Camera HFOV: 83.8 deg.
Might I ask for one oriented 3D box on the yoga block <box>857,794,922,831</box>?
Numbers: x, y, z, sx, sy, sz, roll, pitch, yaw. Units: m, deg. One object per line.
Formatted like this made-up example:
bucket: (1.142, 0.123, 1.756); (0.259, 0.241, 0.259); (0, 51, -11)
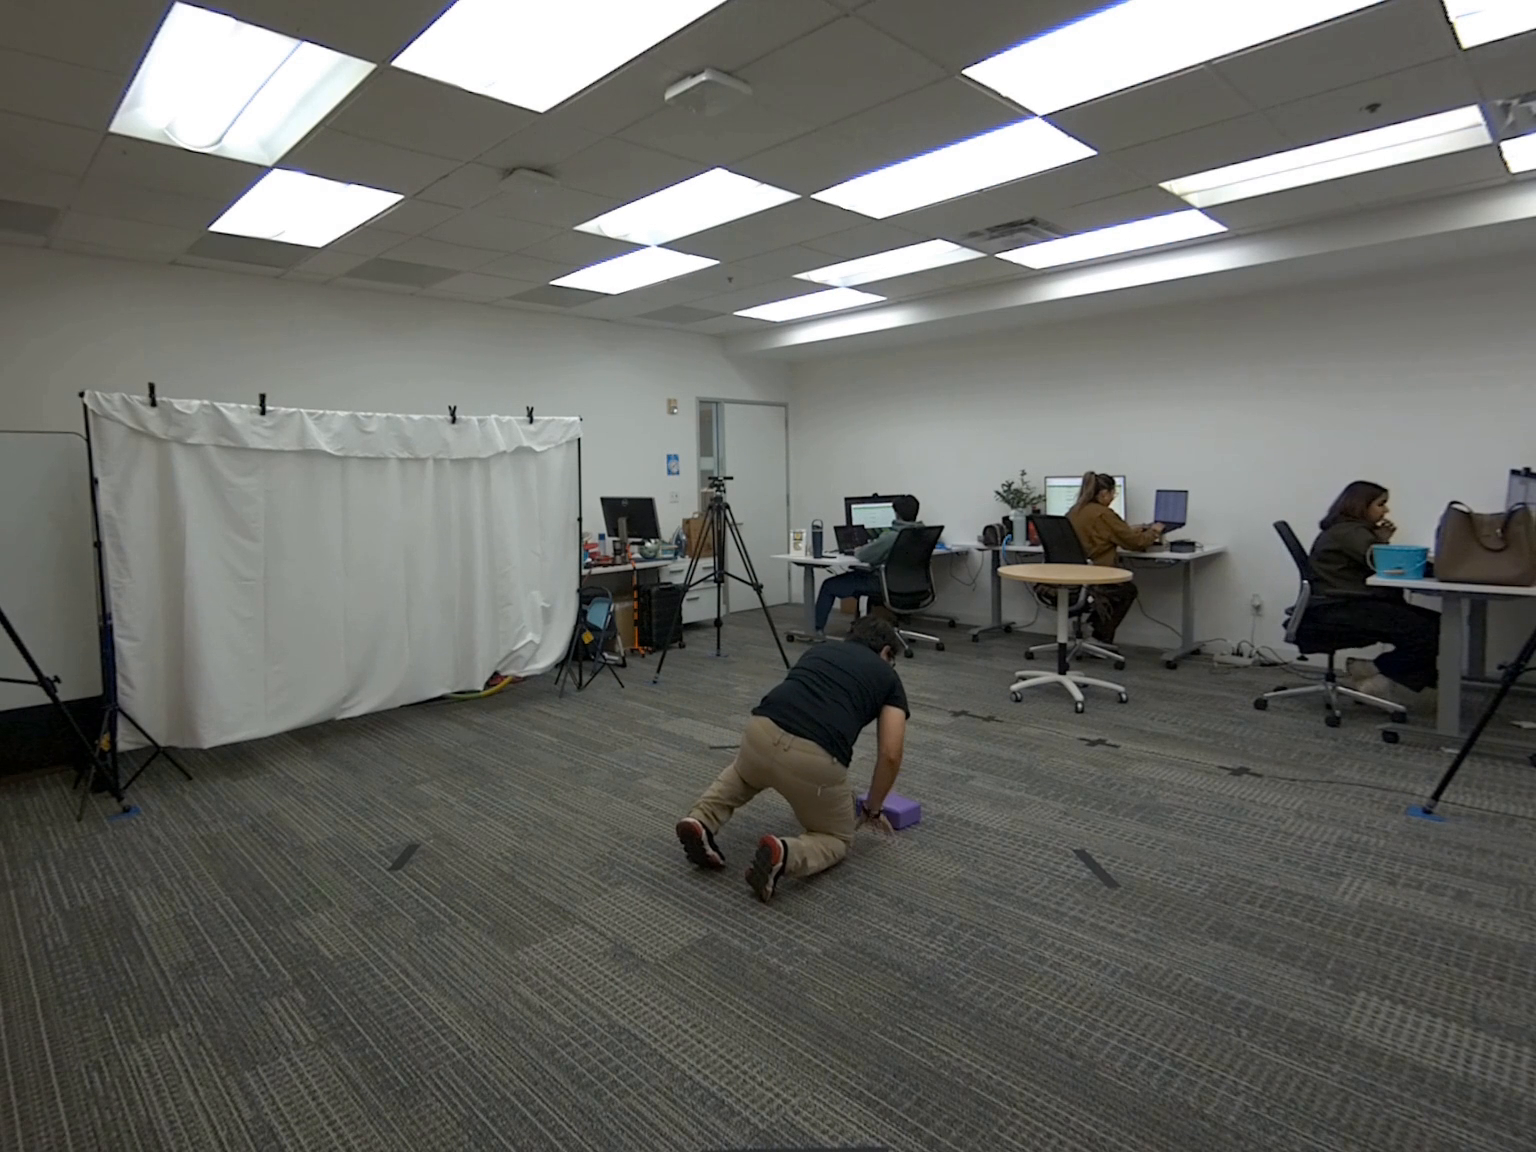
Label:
yoga block: (0.483, 0.941, 3.463); (0.145, 0.076, 0.236); (-4, 7, -42)
